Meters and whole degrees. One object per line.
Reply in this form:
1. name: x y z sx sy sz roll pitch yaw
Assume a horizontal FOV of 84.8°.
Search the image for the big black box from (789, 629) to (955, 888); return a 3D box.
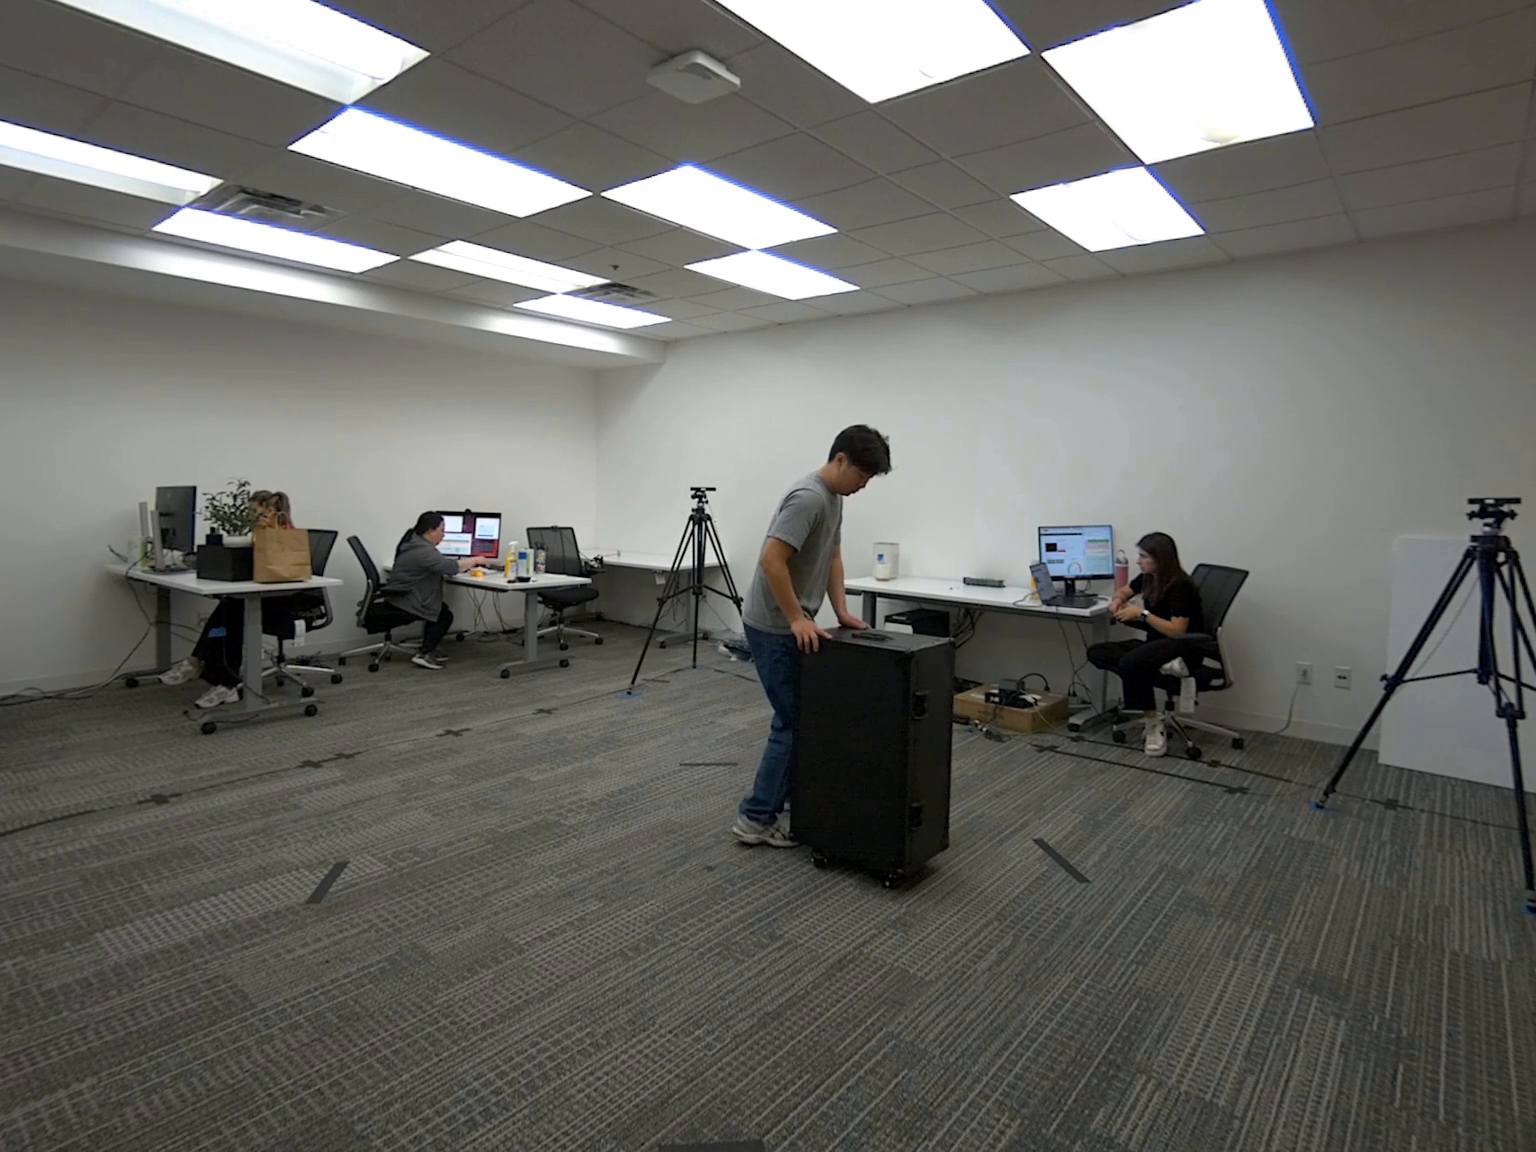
1. big black box: 0.380 0.646 3.175 0.538 0.860 0.384 4 3 38
